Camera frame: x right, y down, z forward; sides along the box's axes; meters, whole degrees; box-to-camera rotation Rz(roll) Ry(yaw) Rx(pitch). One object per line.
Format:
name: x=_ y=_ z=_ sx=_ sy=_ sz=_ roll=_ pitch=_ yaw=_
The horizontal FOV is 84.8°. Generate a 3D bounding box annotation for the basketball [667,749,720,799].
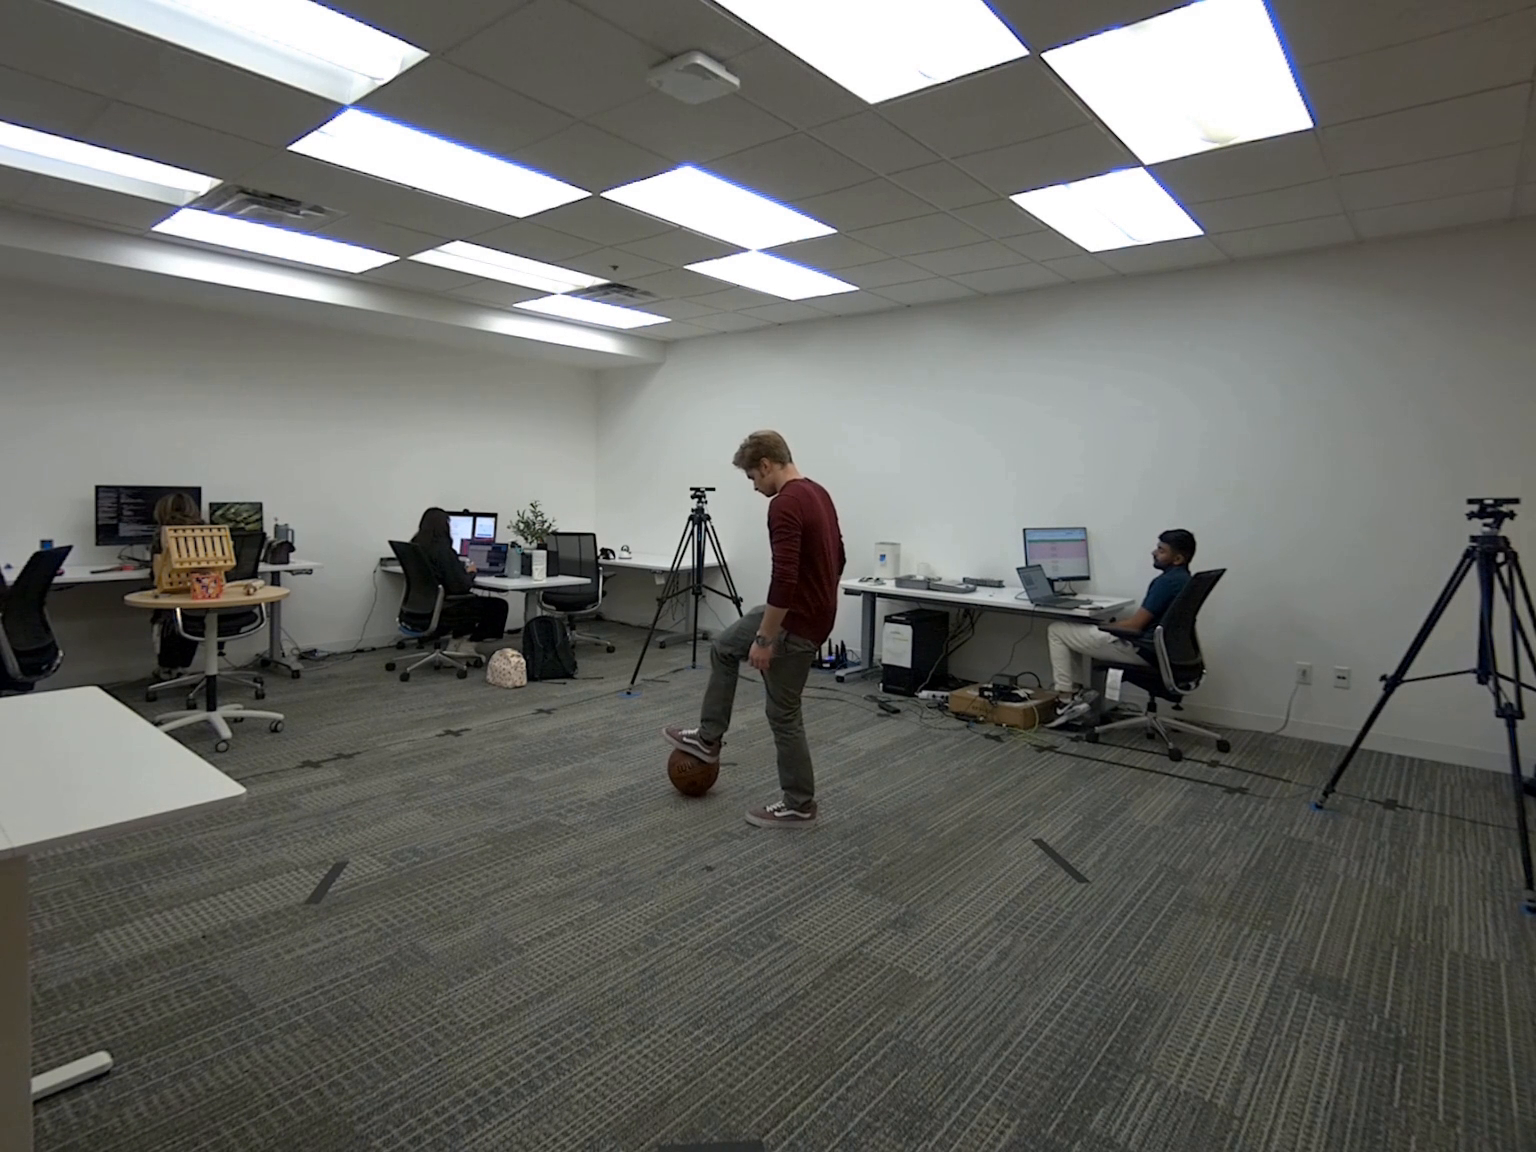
basketball: x=-0.350 y=0.868 z=3.885 sx=0.235 sy=0.235 sz=0.237 roll=1 pitch=4 yaw=-2
